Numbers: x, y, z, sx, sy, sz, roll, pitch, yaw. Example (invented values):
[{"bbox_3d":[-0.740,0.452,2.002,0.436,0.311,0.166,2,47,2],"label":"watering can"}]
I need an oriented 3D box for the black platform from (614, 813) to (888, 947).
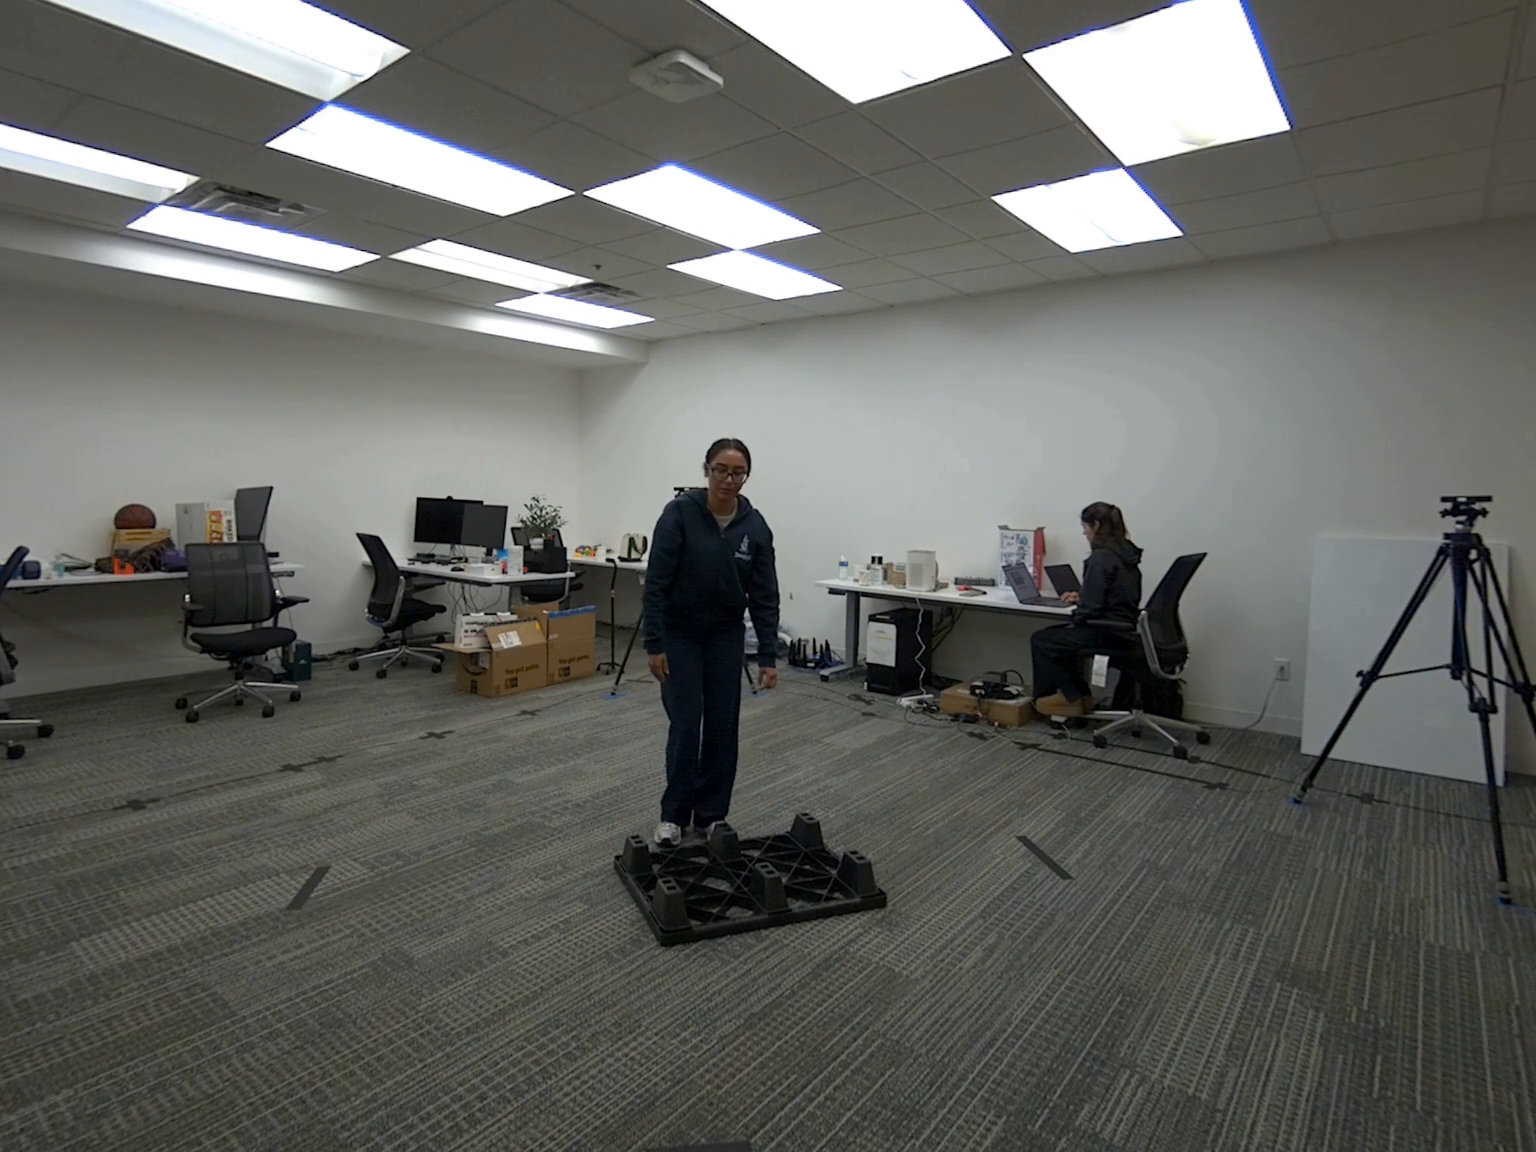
[{"bbox_3d":[-0.088,1.011,2.980,0.787,0.143,0.621,-1,6,-24],"label":"black platform"}]
